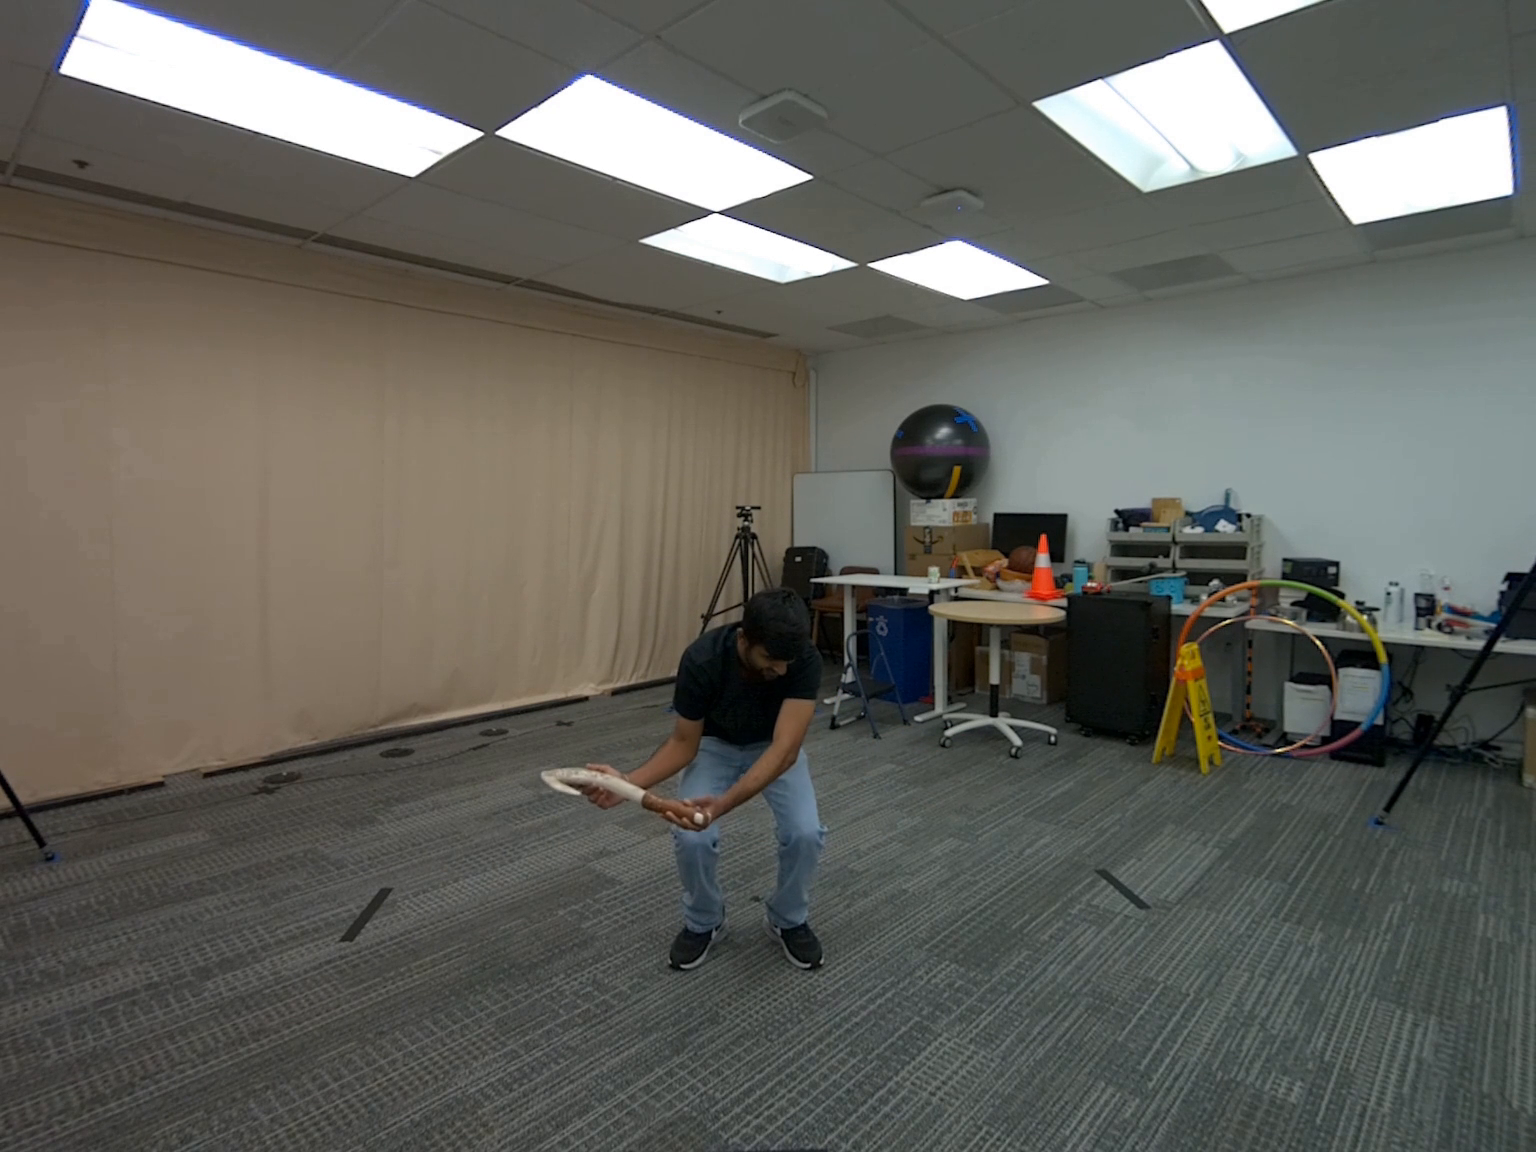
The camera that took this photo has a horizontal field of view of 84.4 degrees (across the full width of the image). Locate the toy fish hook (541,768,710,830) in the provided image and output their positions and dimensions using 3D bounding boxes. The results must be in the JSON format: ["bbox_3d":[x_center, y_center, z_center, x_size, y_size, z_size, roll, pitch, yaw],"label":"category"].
[{"bbox_3d":[-0.363,0.571,2.135,0.523,0.048,0.217,6,-1,38],"label":"toy fish hook"}]
